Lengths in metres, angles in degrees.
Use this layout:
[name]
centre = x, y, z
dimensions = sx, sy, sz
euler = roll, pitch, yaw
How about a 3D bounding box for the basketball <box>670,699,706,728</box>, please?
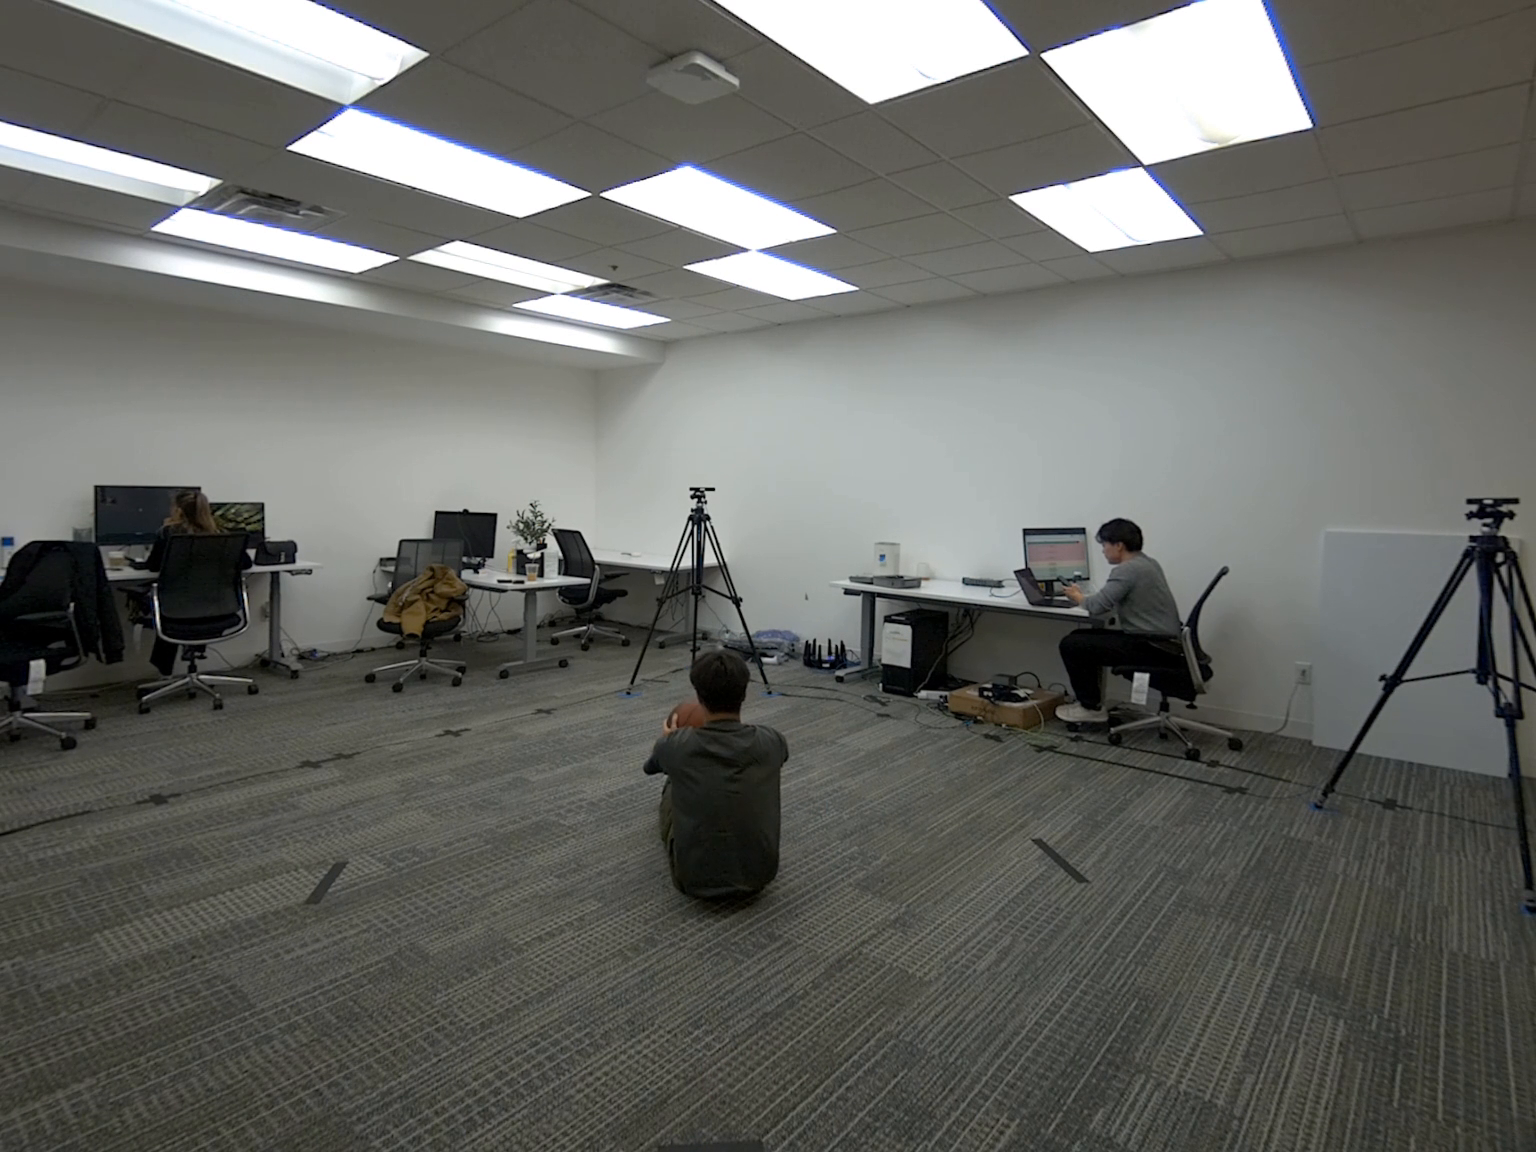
[basketball]
centre = -0.318, 0.630, 3.555
dimensions = 0.235, 0.235, 0.237
euler = 1, 4, -2
